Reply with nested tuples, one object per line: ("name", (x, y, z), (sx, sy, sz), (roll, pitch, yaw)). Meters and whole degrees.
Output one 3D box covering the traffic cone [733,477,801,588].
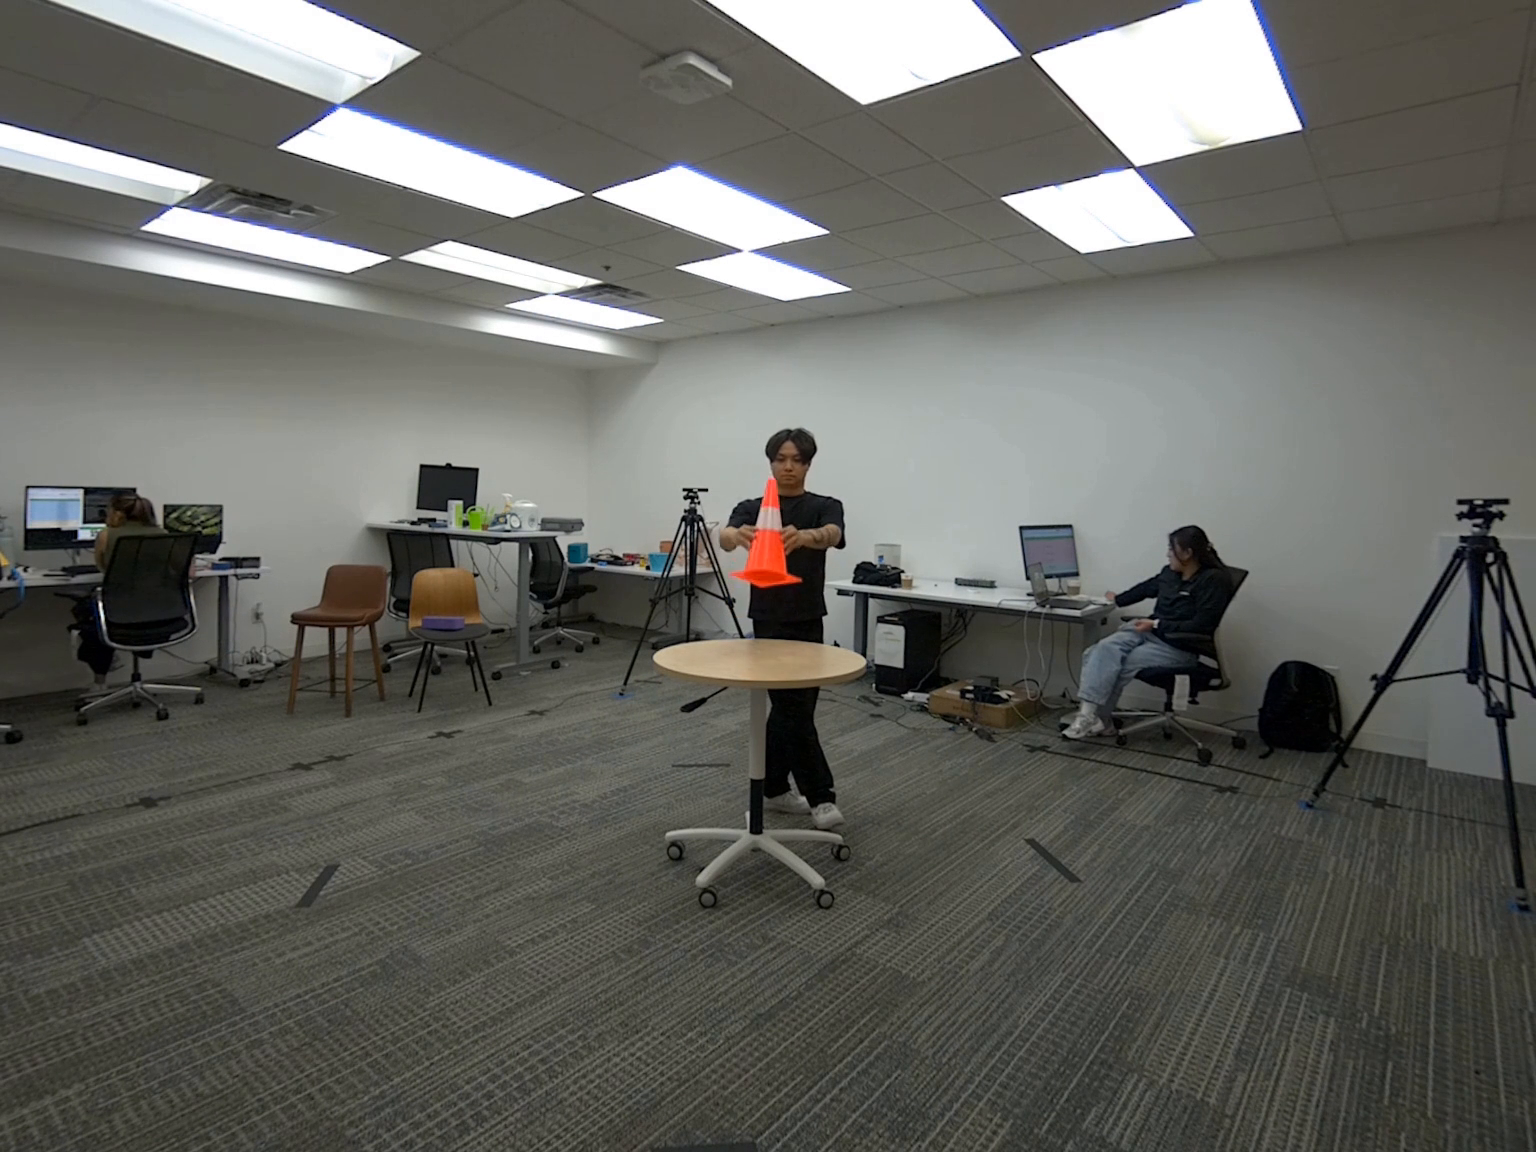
("traffic cone", (-0.001, -0.186, 3.125), (0.196, 0.388, 0.210), (15, -18, -40))
